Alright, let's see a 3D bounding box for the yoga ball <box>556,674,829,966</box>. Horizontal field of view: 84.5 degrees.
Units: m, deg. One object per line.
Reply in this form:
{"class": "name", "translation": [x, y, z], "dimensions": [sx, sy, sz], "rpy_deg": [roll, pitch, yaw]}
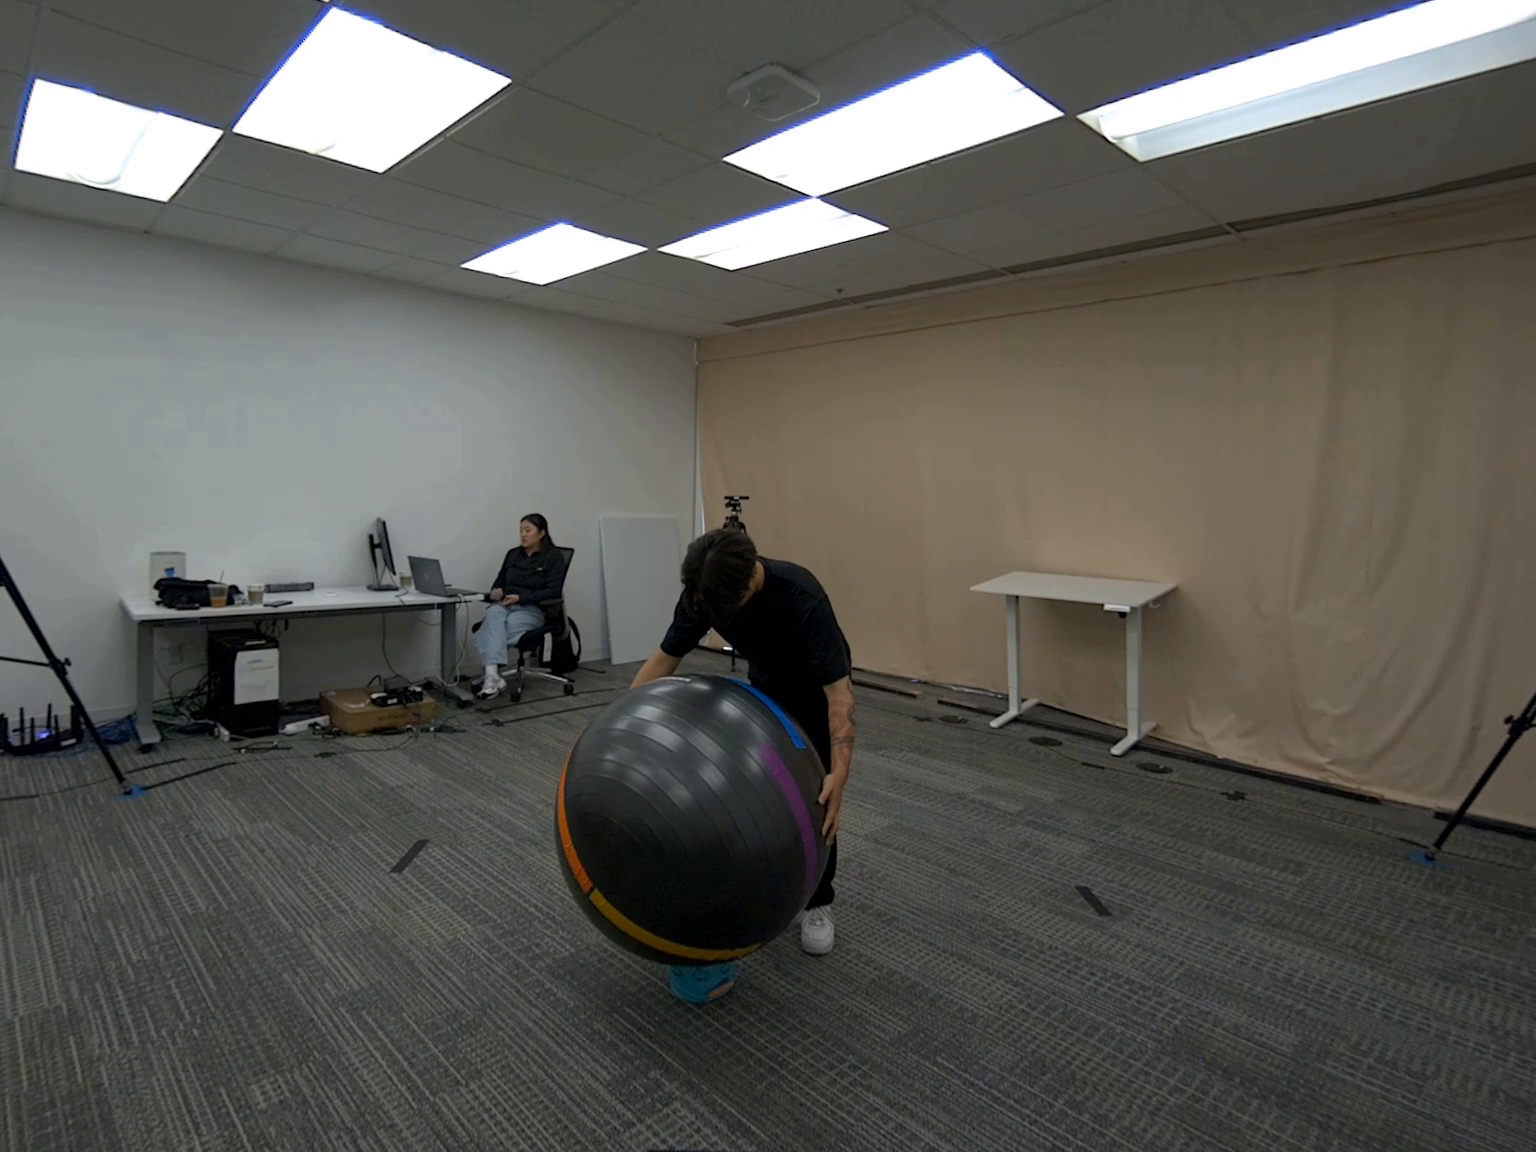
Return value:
{"class": "yoga ball", "translation": [-0.210, 0.665, 2.306], "dimensions": [0.757, 0.756, 0.761], "rpy_deg": [1, 4, -1]}
